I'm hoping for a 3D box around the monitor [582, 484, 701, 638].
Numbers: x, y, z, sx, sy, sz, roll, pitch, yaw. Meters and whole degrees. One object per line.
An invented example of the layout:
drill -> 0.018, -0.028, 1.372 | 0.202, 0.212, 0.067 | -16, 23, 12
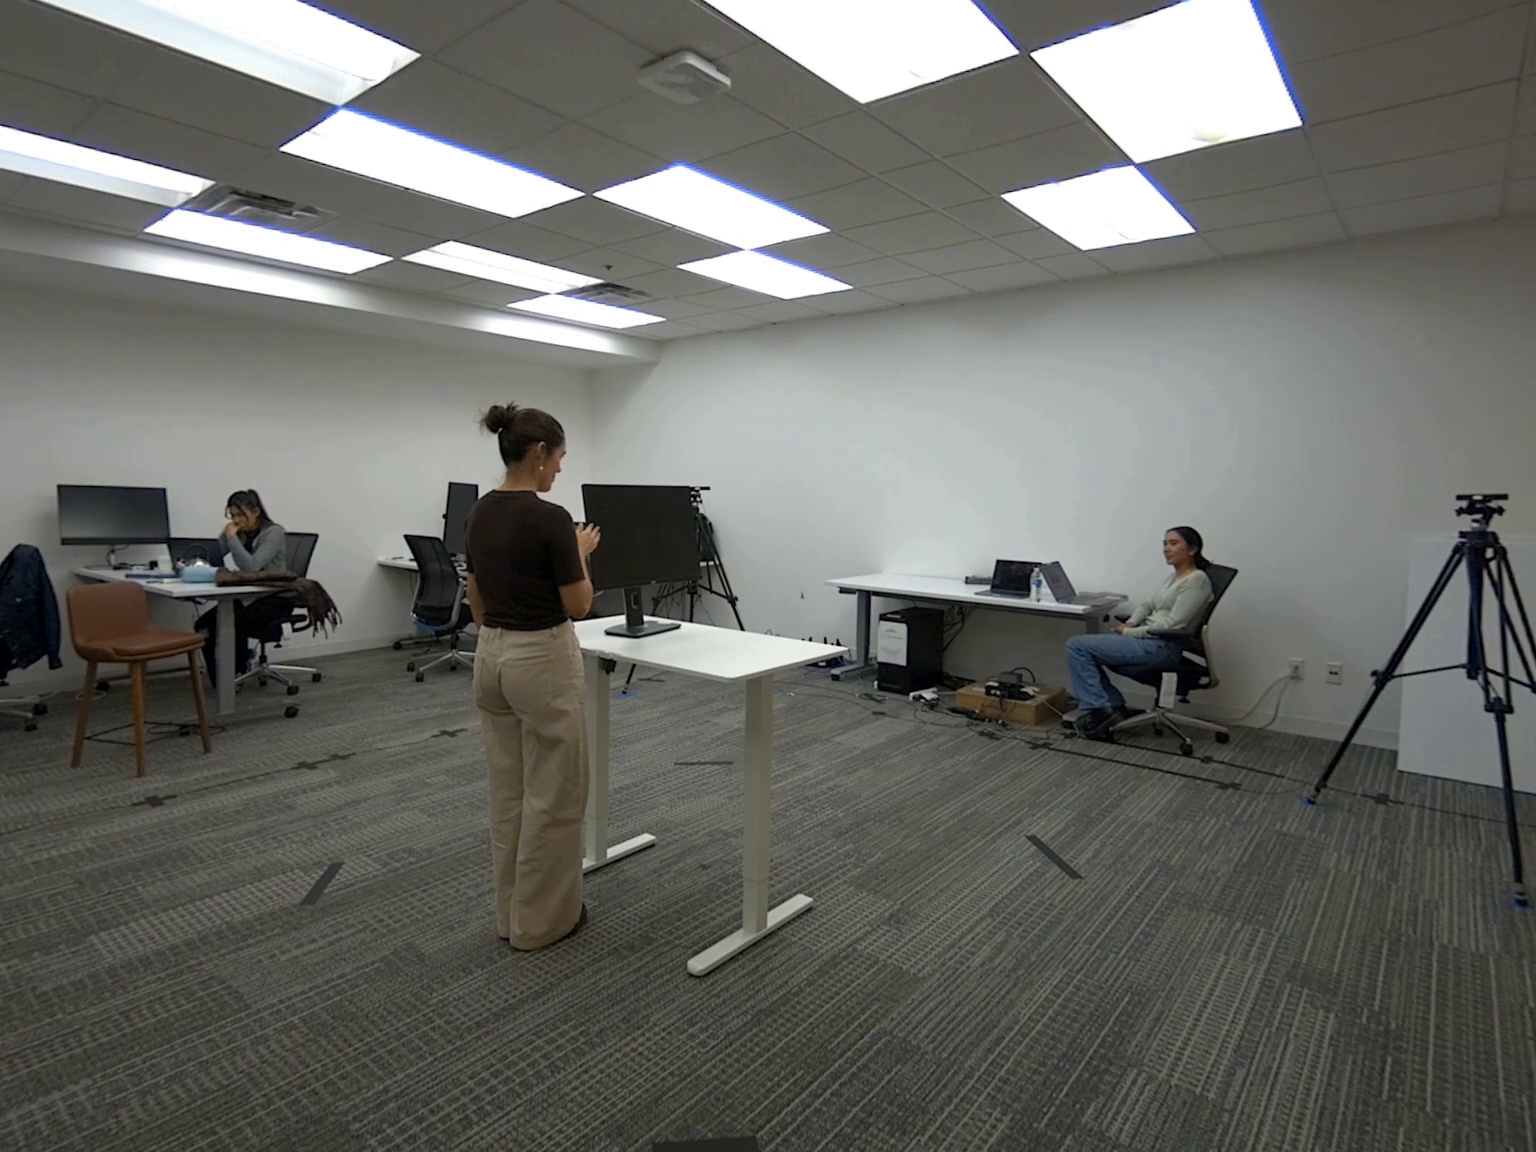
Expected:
monitor -> -0.457, -0.060, 2.981 | 0.193, 0.520, 0.523 | 6, 7, 38
